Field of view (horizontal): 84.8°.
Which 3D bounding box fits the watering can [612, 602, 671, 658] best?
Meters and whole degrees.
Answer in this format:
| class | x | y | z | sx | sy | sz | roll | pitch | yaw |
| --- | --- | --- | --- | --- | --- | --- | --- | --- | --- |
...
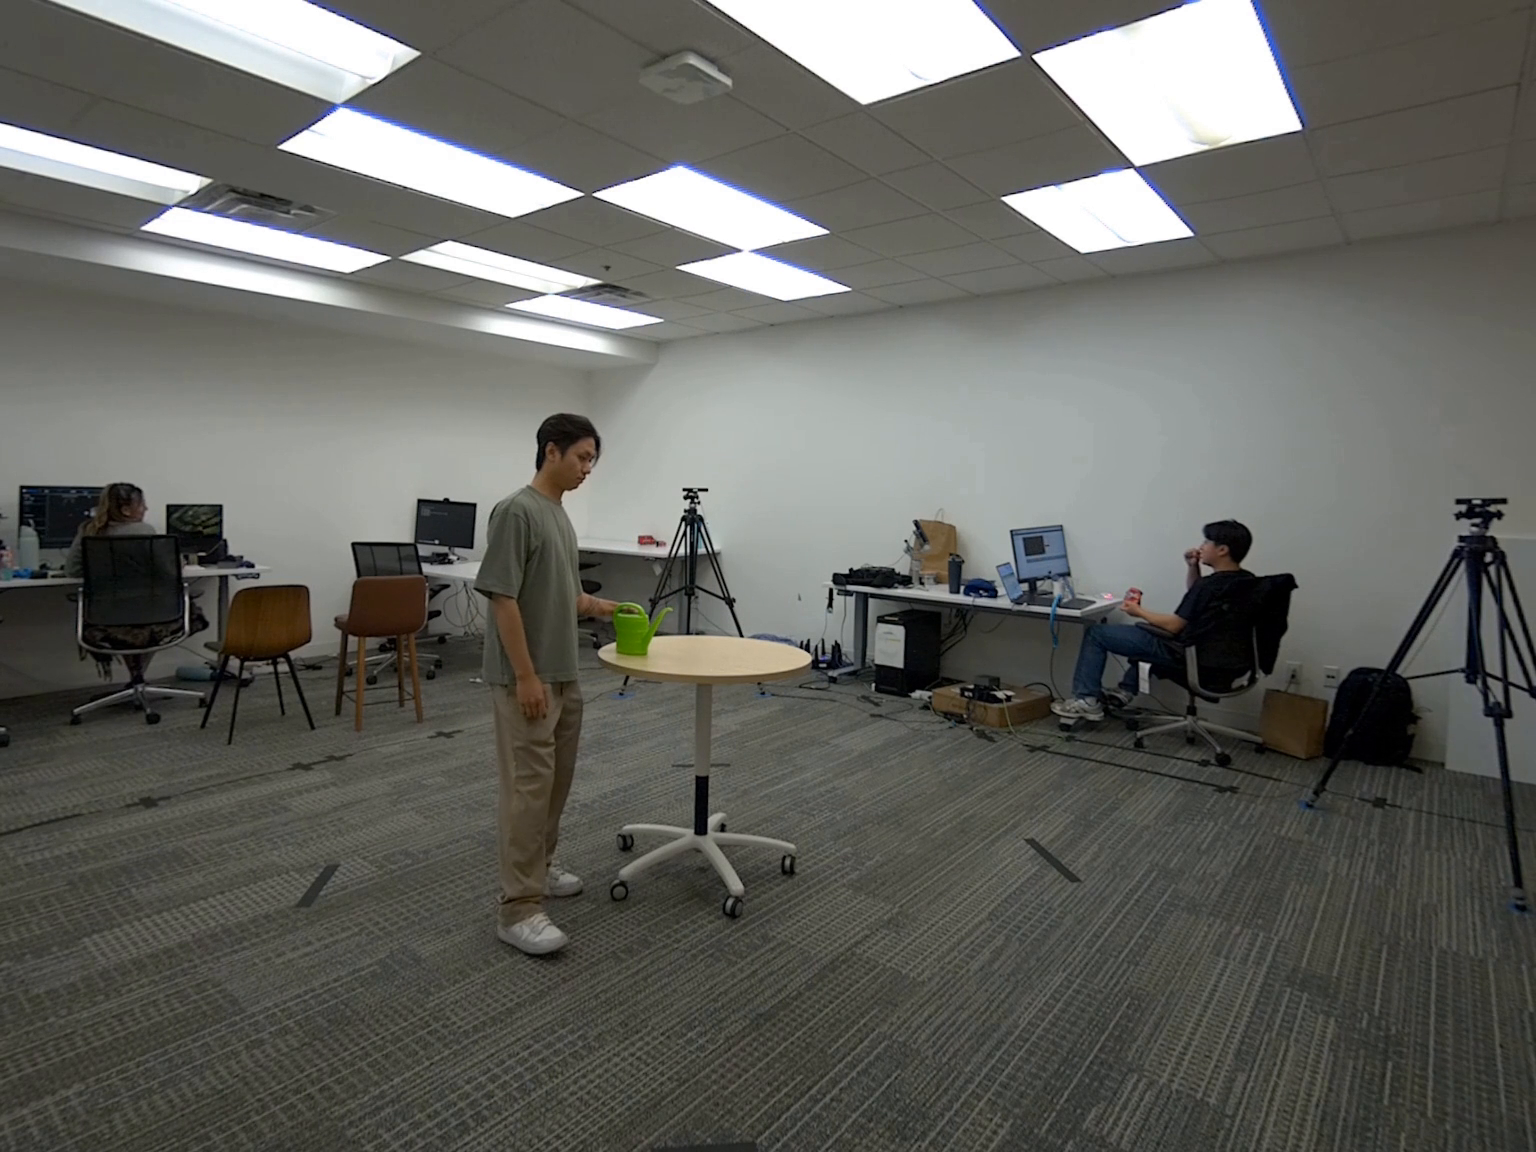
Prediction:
| class | x | y | z | sx | sy | sz | roll | pitch | yaw |
| --- | --- | --- | --- | --- | --- | --- | --- | --- | --- |
| watering can | -0.467 | 0.192 | 2.988 | 0.095 | 0.176 | 0.287 | -2 | 5 | -41 |
